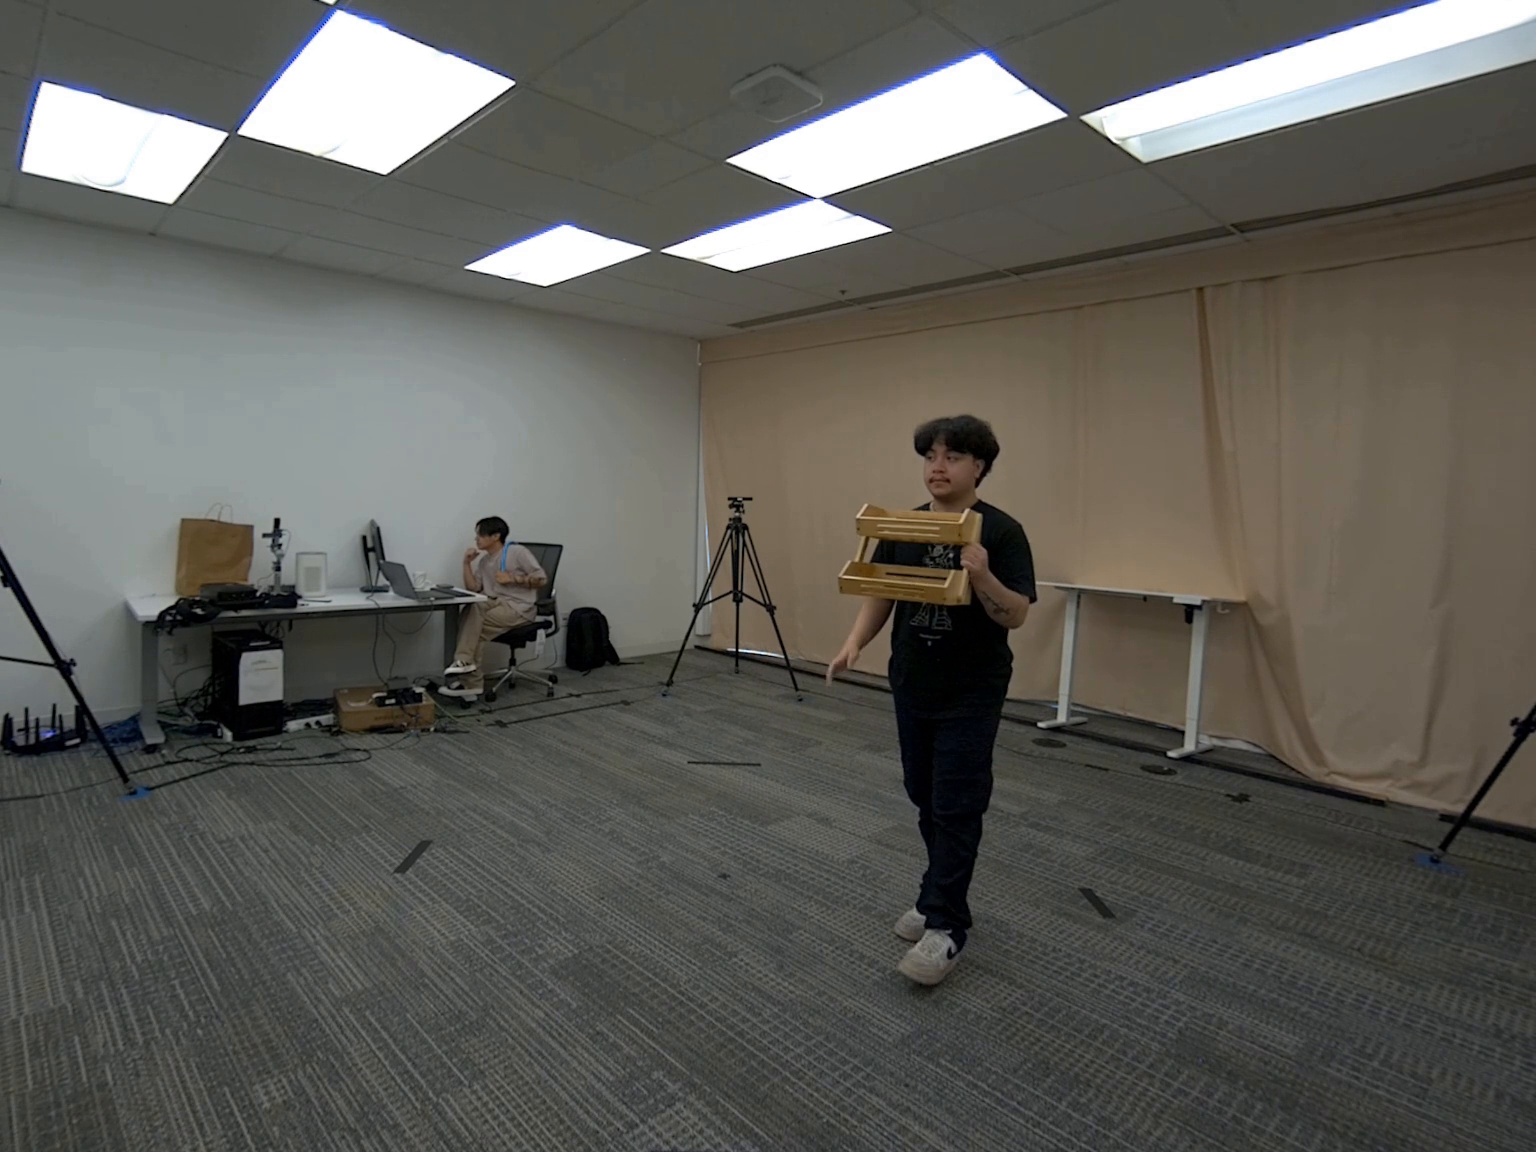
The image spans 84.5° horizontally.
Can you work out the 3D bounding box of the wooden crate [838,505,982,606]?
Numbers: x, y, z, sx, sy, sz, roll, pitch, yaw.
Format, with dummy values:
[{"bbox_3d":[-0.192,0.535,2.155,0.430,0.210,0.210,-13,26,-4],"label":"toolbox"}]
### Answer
[{"bbox_3d":[0.400,-0.067,2.343,0.331,0.273,0.295,6,-1,29],"label":"wooden crate"}]
